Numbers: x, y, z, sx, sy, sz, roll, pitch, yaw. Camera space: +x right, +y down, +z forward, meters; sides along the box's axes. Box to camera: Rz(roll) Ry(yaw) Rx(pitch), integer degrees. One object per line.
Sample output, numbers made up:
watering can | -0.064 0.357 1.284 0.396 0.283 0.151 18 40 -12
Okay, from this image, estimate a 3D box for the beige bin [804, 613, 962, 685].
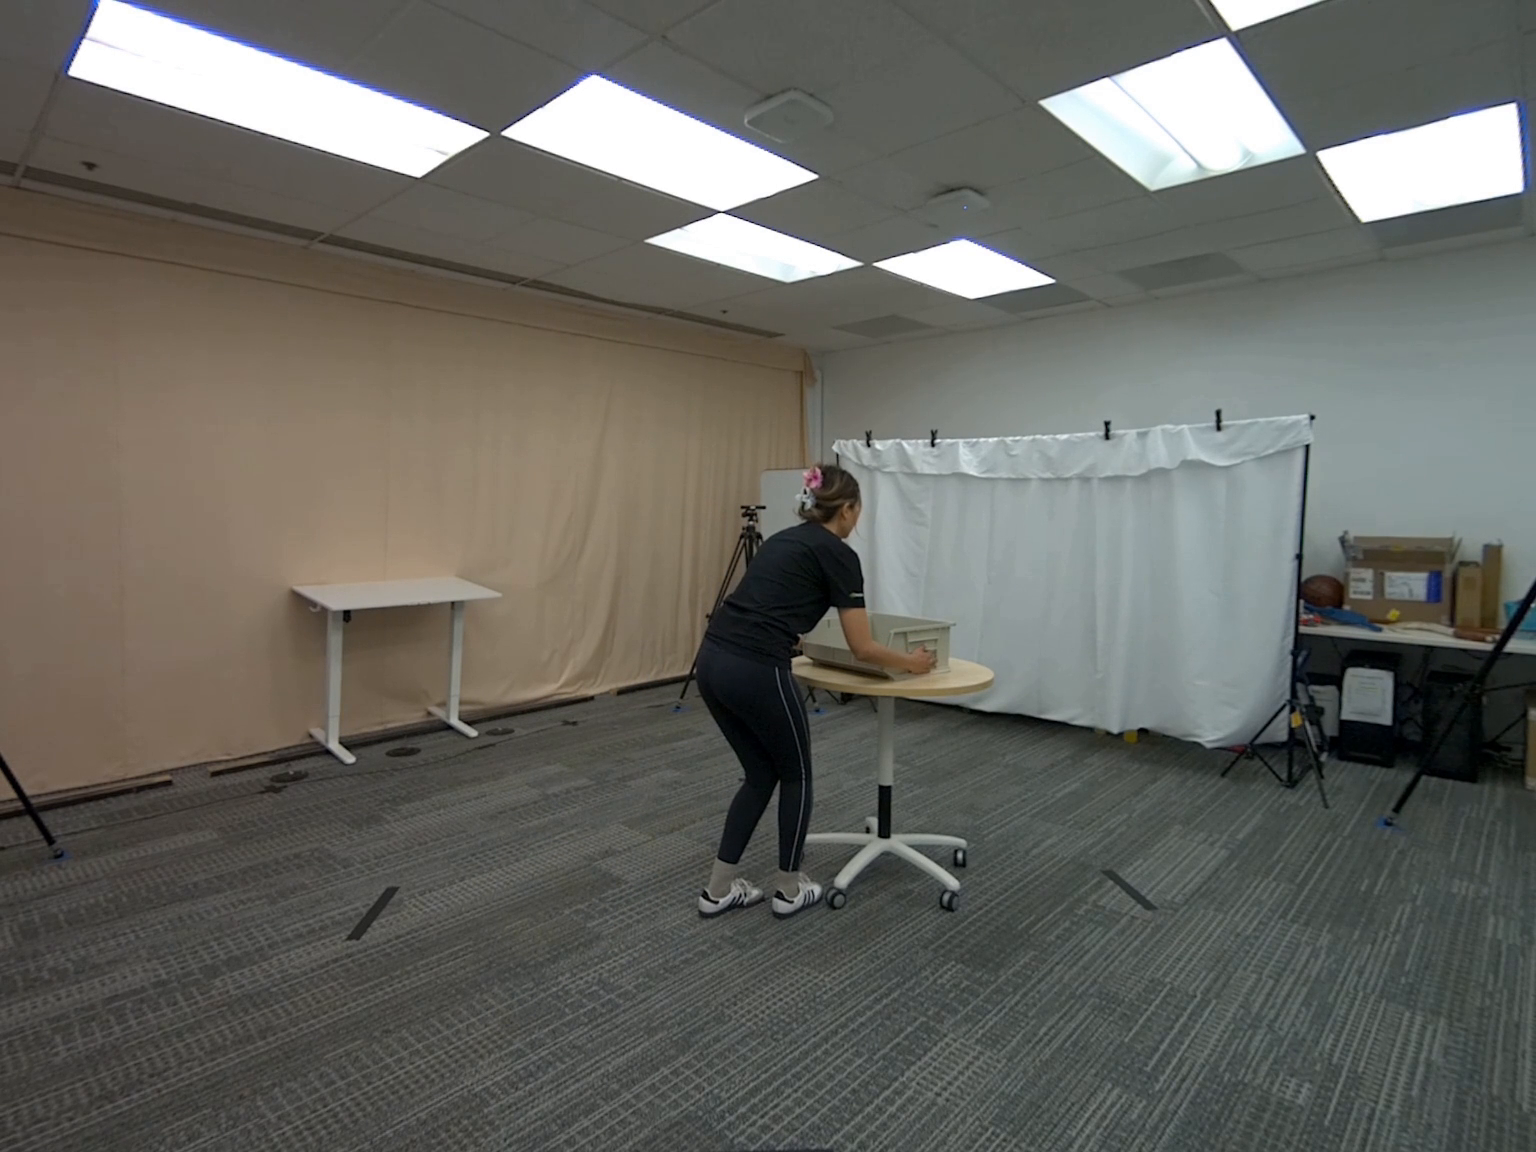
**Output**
beige bin | 0.421 0.257 3.145 0.365 0.189 0.436 -1 3 -41
